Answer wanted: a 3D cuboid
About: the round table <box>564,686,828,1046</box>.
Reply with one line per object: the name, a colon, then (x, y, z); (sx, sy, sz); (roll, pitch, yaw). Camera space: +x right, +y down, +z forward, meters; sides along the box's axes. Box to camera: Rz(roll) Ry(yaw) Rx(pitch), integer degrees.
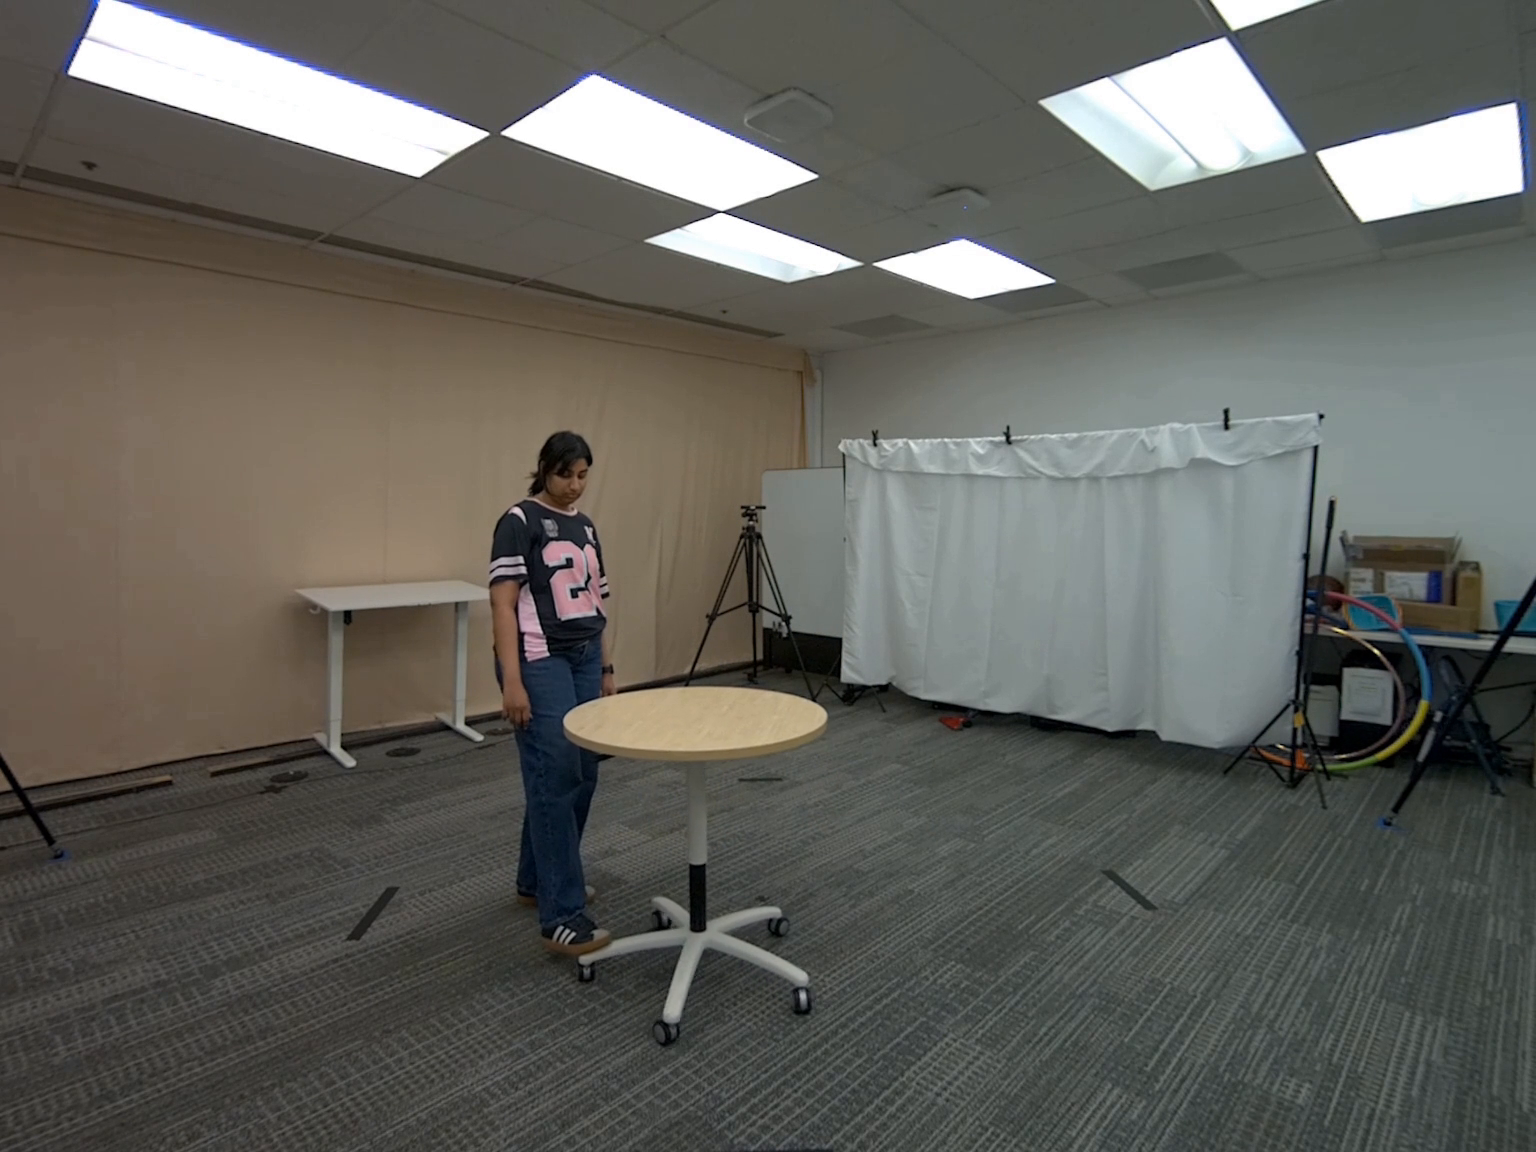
round table: (-0.199, 0.801, 2.474); (0.763, 0.792, 0.766); (-1, 4, -2)
